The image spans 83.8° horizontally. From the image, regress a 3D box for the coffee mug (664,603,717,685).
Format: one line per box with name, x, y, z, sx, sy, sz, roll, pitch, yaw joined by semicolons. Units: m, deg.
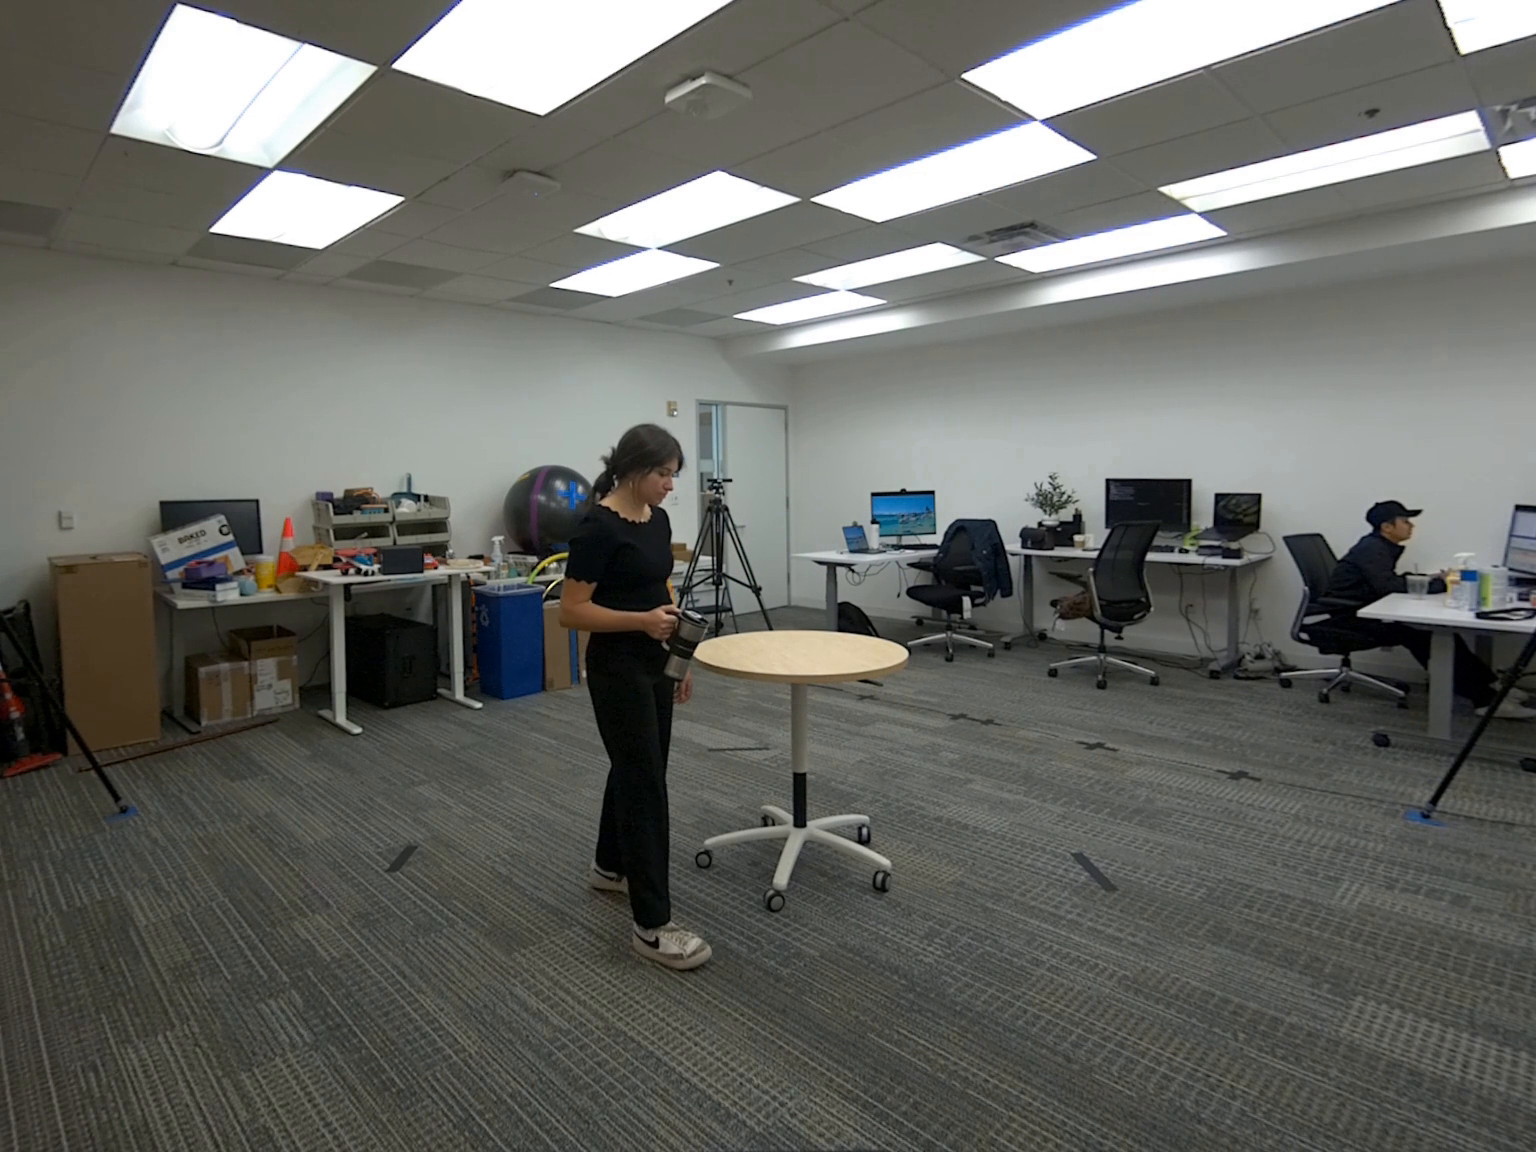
coffee mug;-0.255;0.197;2.488;0.085;0.202;0.127;11;16;-45
